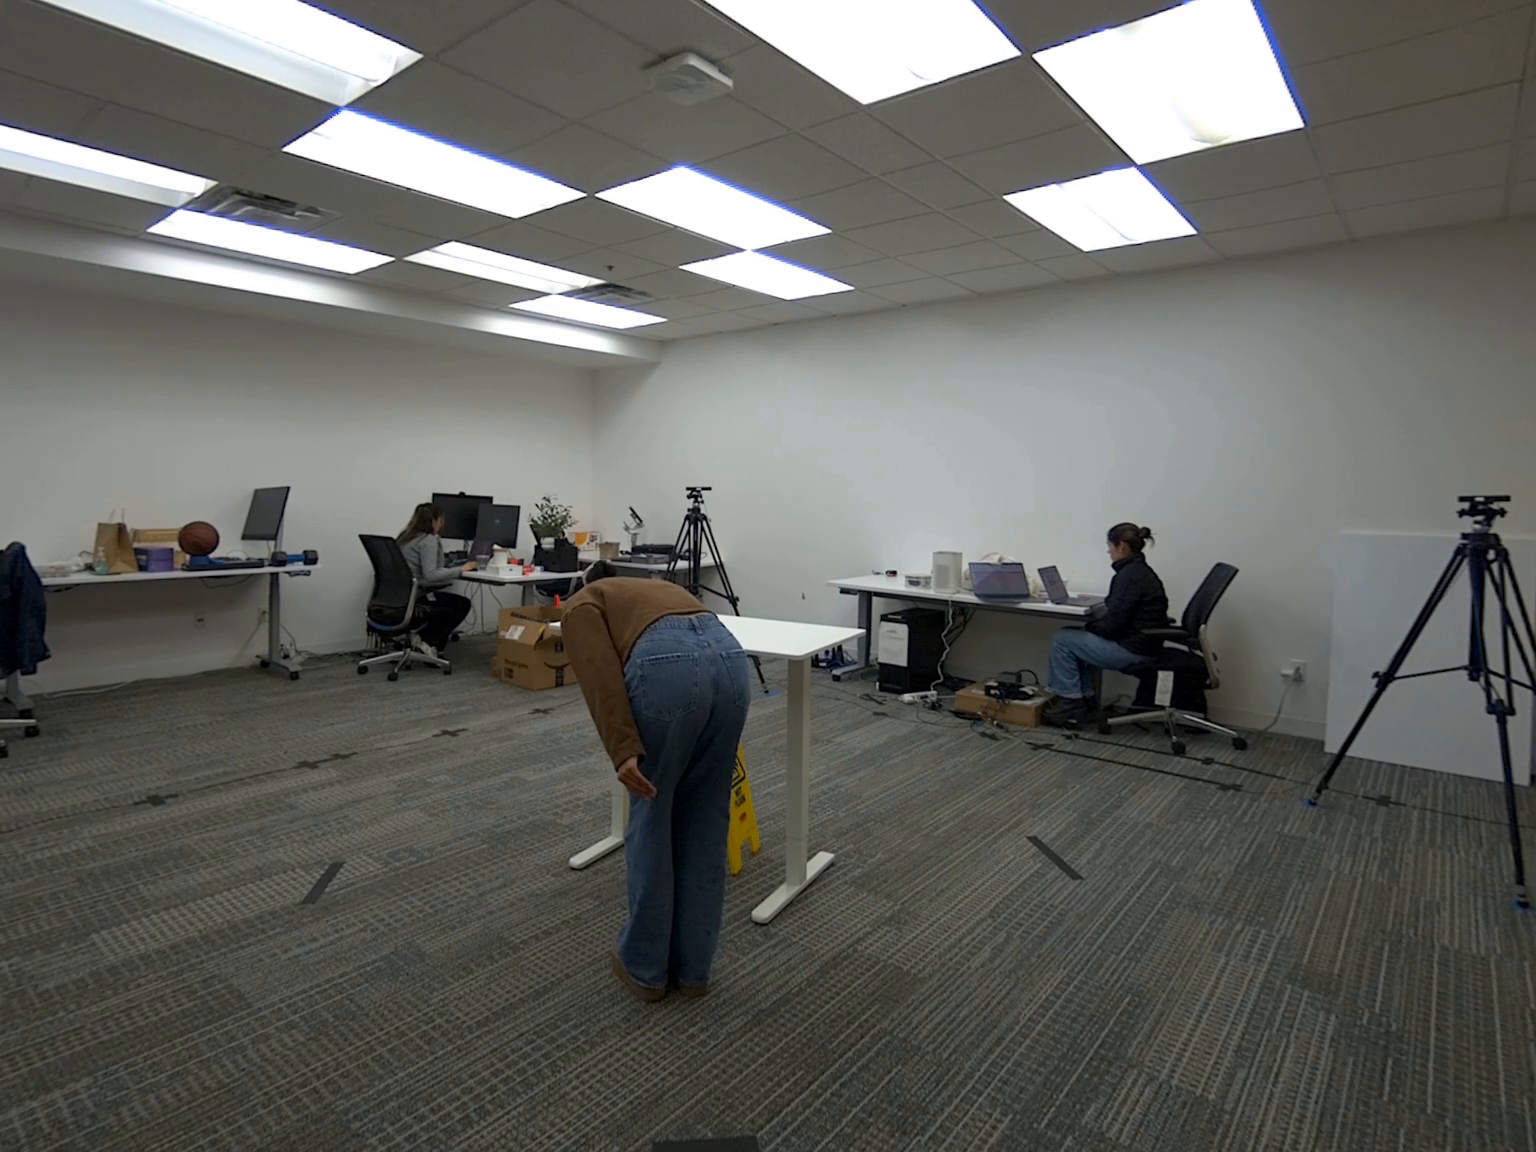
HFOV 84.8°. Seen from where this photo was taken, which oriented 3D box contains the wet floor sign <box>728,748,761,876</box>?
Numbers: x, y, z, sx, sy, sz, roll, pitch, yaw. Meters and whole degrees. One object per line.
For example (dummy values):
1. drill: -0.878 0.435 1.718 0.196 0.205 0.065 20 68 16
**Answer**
1. wet floor sign: -0.202 0.730 3.216 0.296 0.644 0.277 2 4 21
